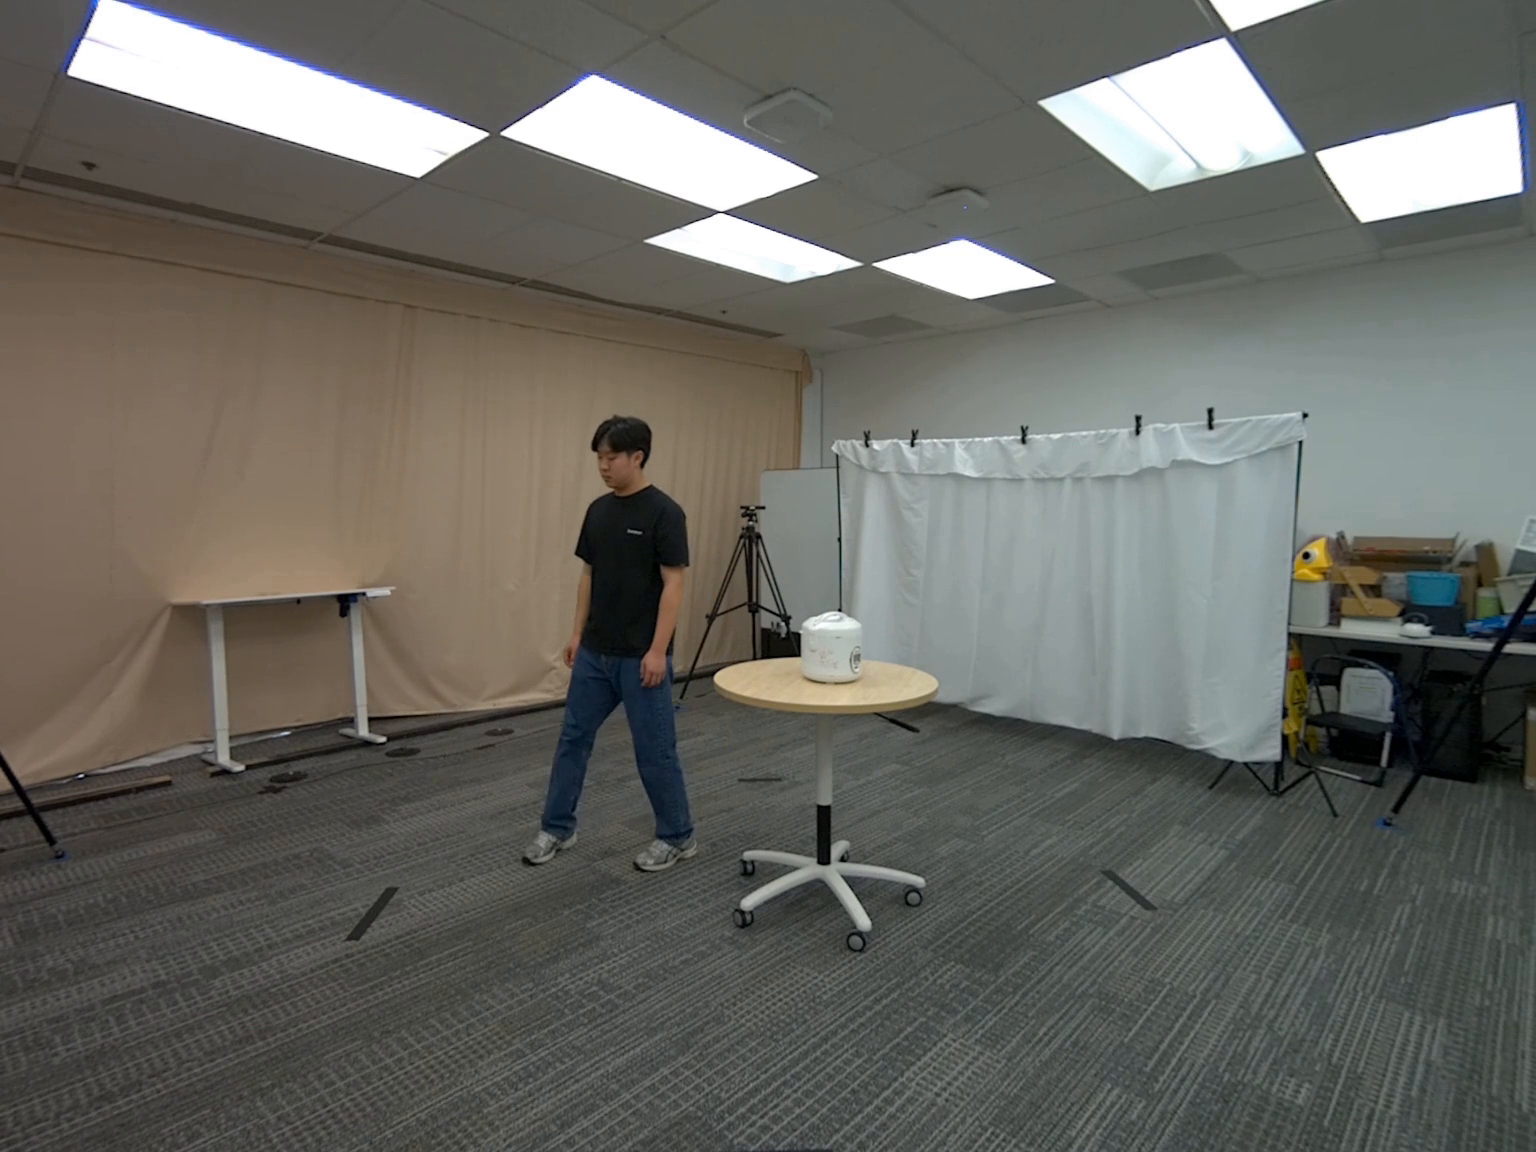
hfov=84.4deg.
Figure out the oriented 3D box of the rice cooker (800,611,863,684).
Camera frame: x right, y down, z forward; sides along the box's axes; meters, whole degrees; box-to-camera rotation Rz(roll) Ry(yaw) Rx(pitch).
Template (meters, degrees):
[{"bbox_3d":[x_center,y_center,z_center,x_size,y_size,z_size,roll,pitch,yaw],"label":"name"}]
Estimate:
[{"bbox_3d":[0.226,0.238,2.898,0.224,0.232,0.214,2,5,45],"label":"rice cooker"}]
